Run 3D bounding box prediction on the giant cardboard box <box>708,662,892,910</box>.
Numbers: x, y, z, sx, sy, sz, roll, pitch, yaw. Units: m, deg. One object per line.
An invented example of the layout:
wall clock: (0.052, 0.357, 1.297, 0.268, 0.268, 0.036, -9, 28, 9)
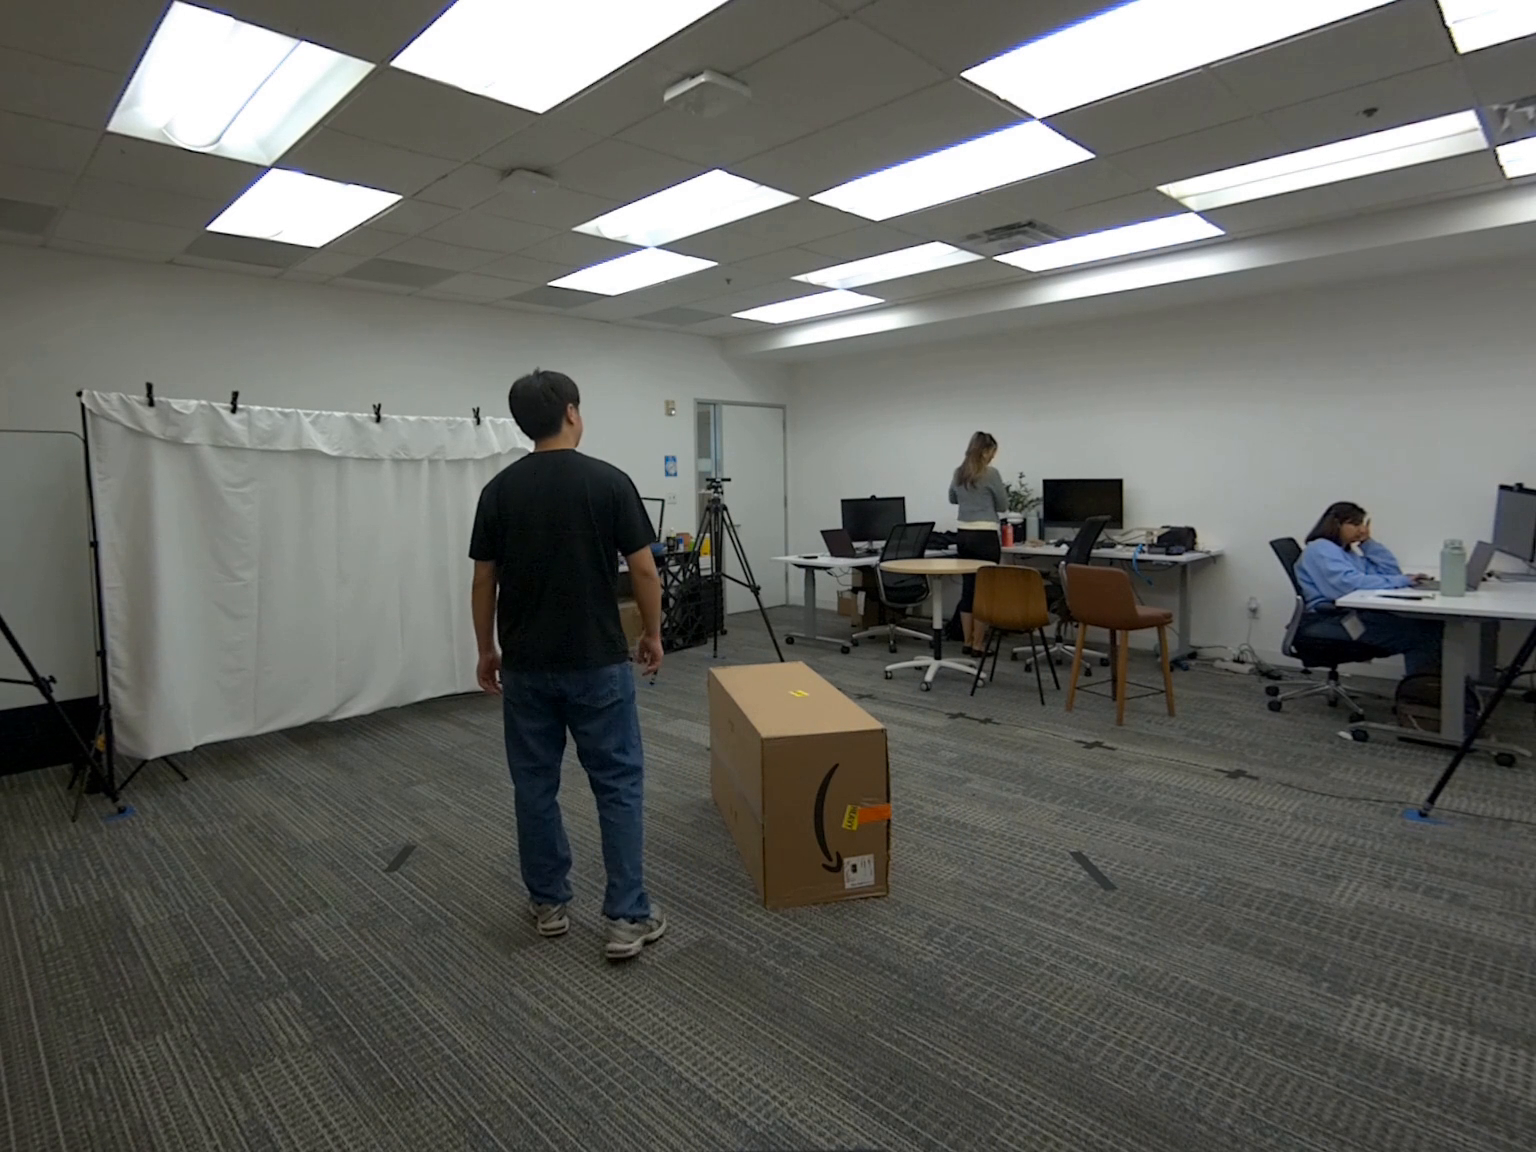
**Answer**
giant cardboard box: (0.076, 0.730, 3.283, 0.441, 0.581, 1.044, -1, 6, -14)
